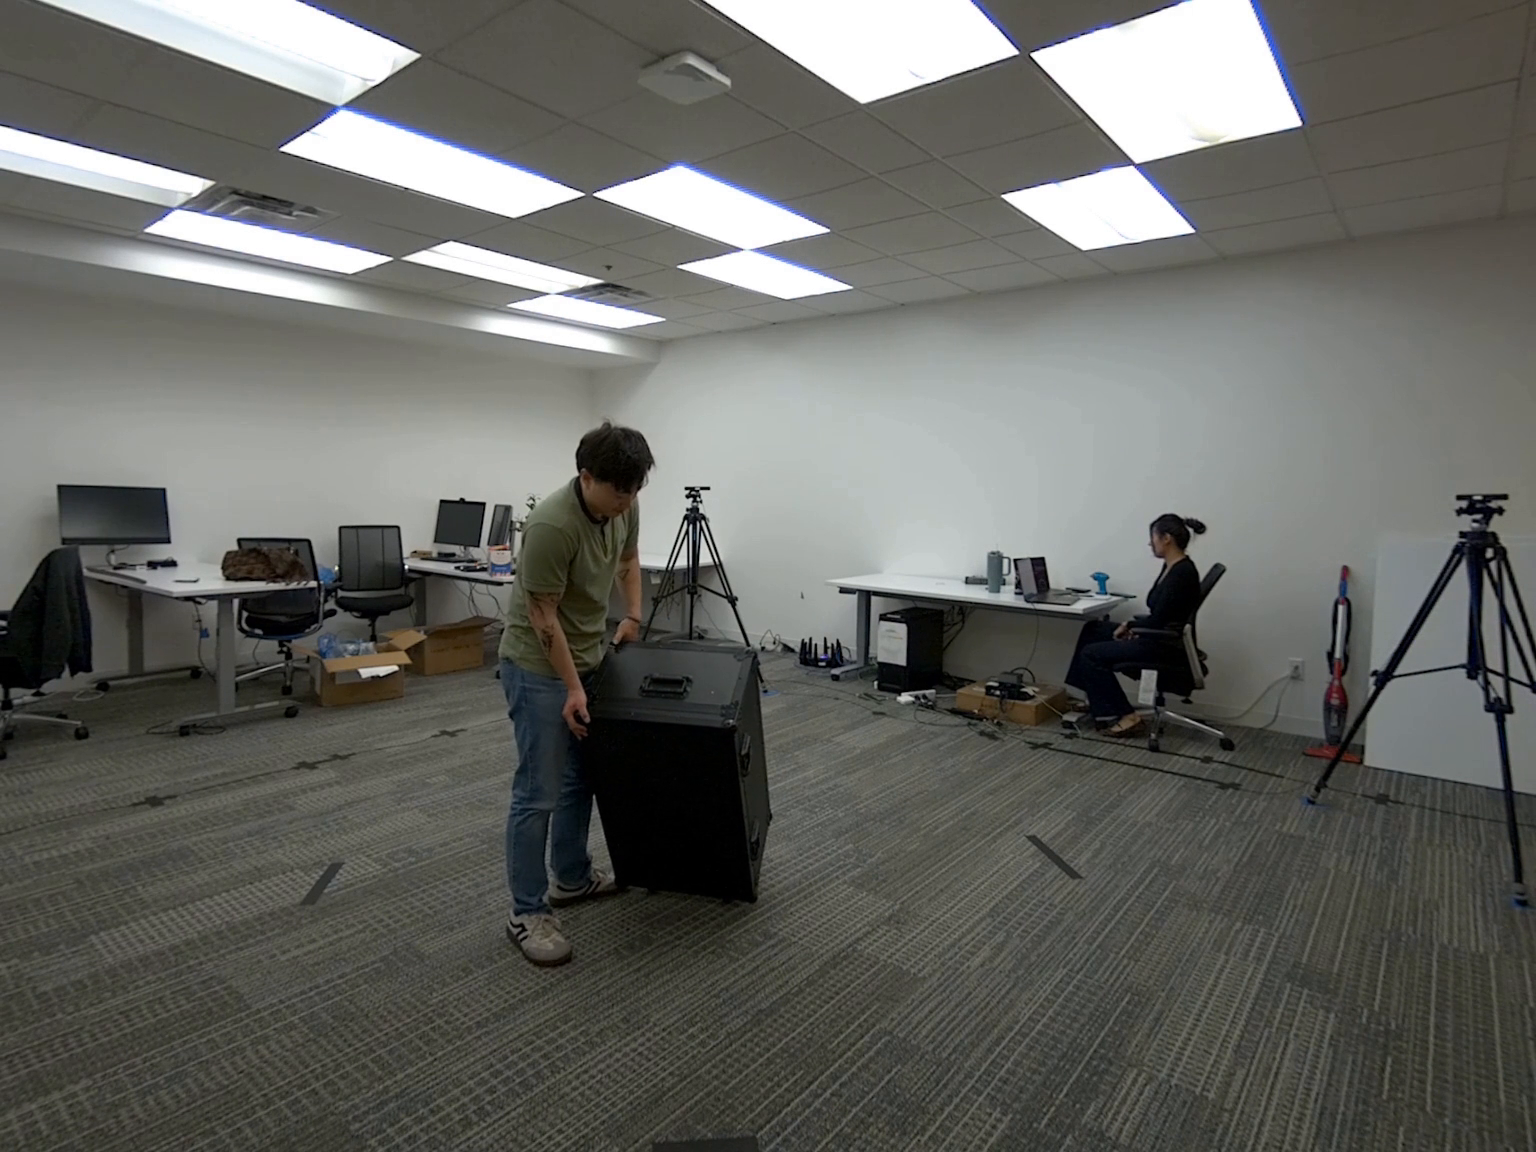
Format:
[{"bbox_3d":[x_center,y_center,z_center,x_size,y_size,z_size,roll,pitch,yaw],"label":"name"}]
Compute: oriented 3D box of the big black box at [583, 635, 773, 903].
[{"bbox_3d":[-0.283,0.663,2.802,0.528,0.837,0.402,3,33,11],"label":"big black box"}]
